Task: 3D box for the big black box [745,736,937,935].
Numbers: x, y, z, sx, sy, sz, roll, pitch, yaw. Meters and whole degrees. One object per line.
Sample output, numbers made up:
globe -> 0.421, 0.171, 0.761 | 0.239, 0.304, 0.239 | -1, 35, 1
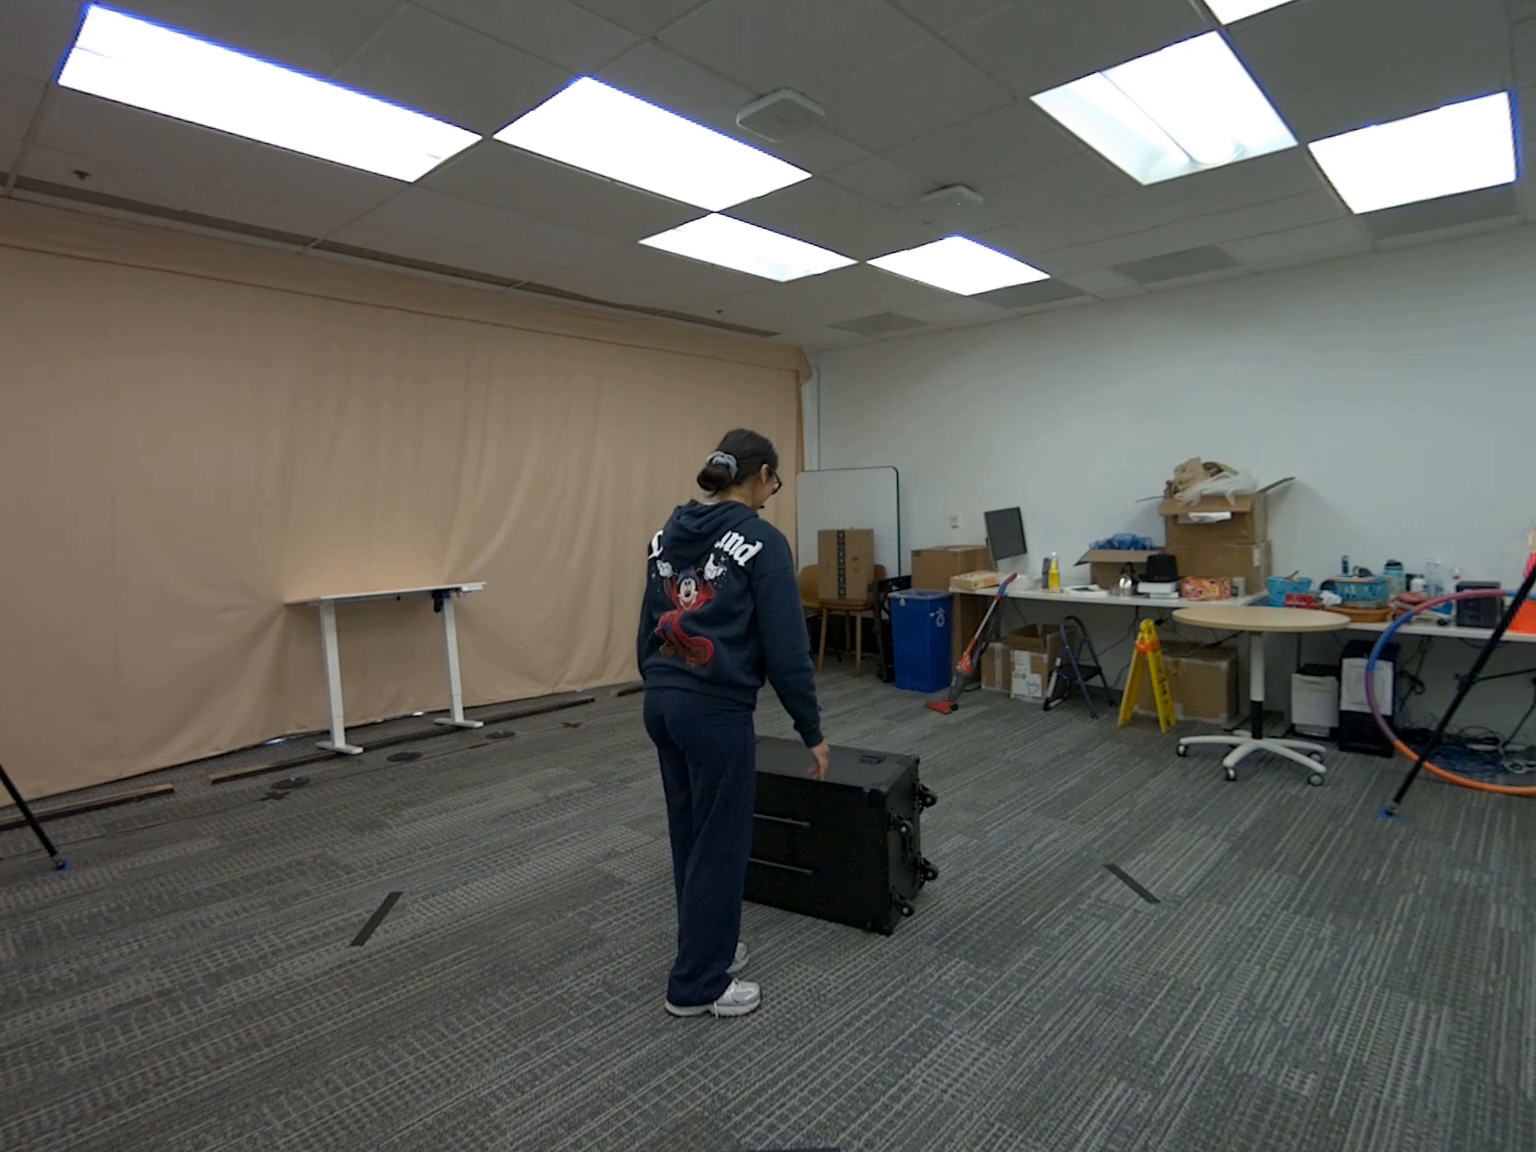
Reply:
big black box -> 0.140, 0.881, 2.996 | 0.885, 0.519, 0.387 | 1, 6, 29
